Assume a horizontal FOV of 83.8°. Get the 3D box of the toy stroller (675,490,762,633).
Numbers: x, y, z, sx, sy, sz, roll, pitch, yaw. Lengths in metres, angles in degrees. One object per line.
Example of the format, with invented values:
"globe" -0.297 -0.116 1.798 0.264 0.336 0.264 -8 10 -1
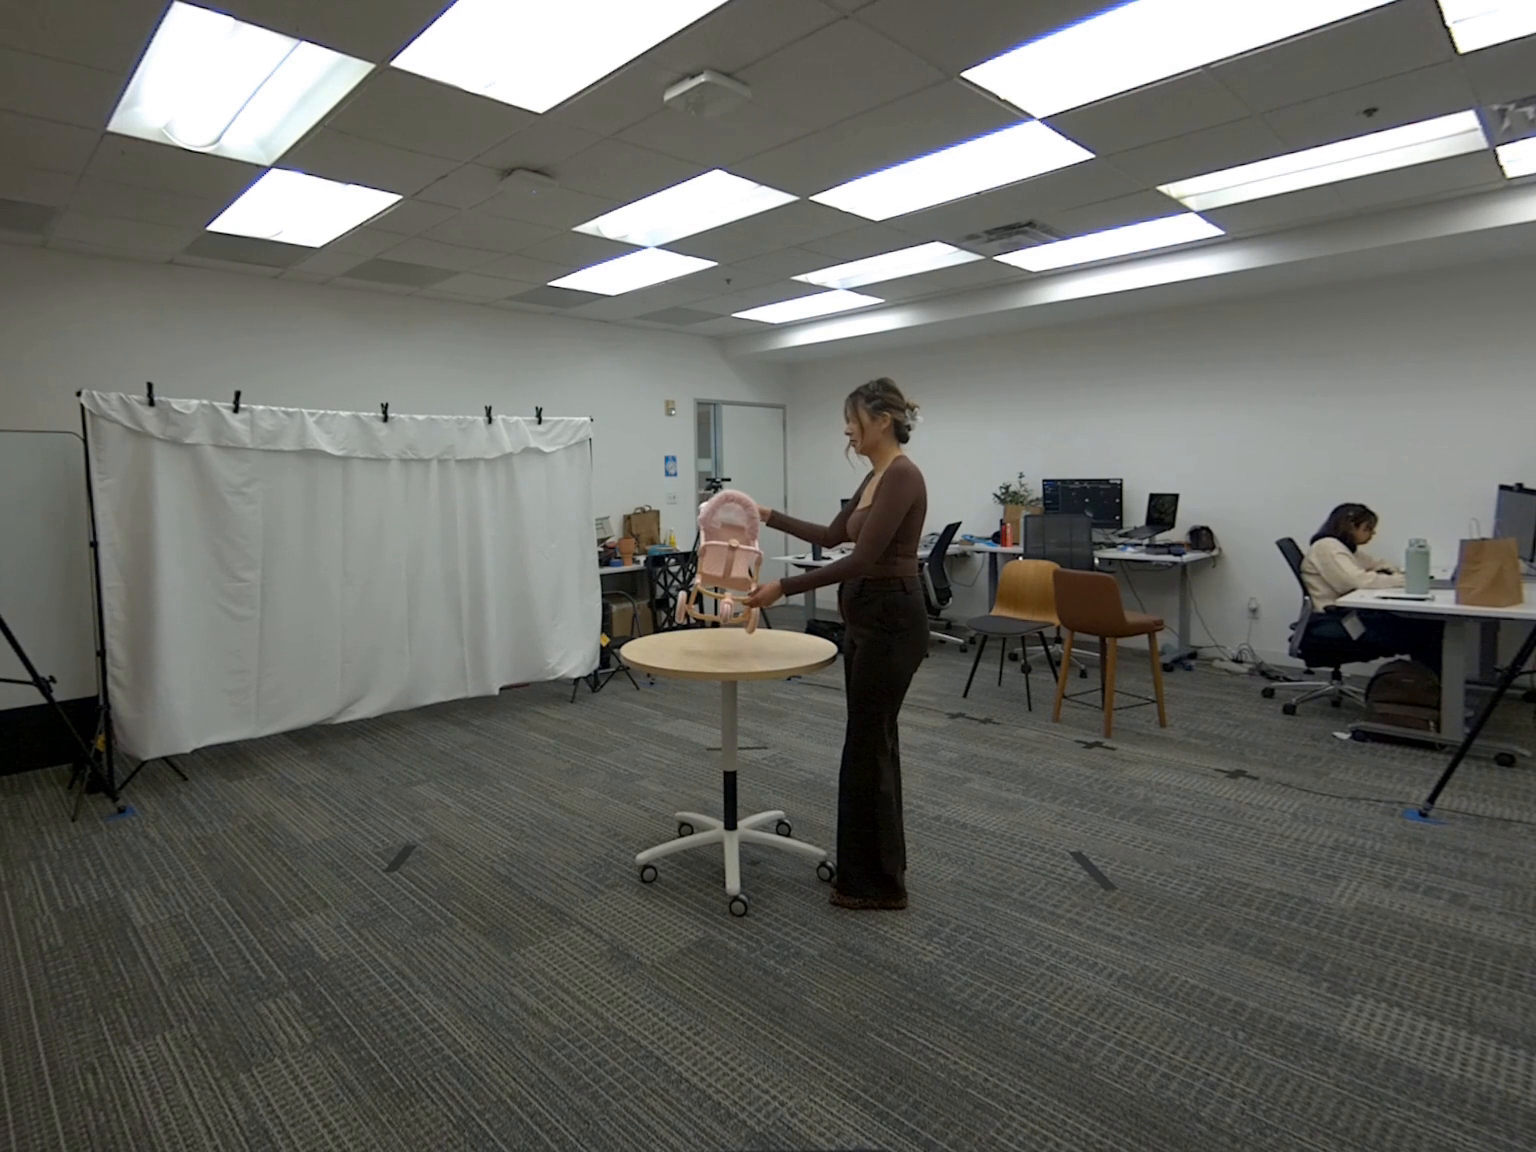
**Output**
"toy stroller" -0.137 -0.055 2.877 0.280 0.544 0.337 8 -22 -6
